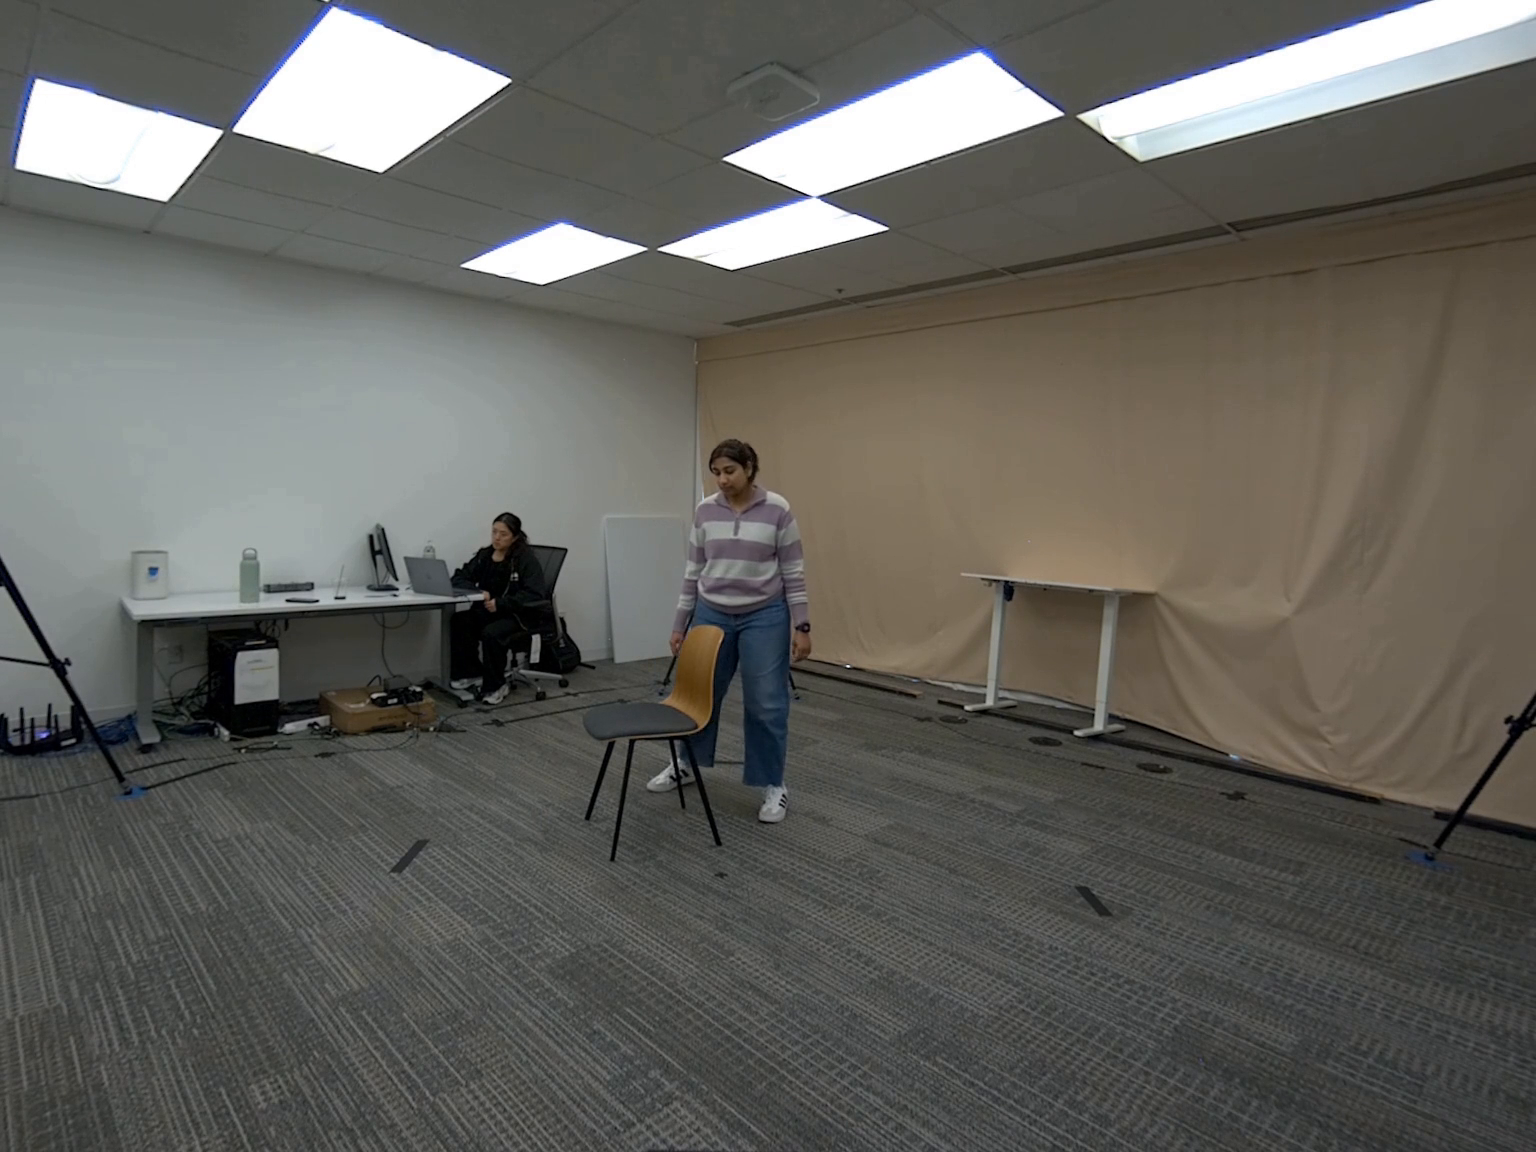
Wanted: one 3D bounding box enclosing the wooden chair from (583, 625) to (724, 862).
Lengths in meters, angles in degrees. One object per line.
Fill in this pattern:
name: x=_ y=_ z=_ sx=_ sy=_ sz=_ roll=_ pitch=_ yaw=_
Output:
wooden chair: x=-0.489 y=0.639 z=3.448 sx=0.513 sy=0.876 sz=0.487 roll=4 pitch=2 yaw=-24
